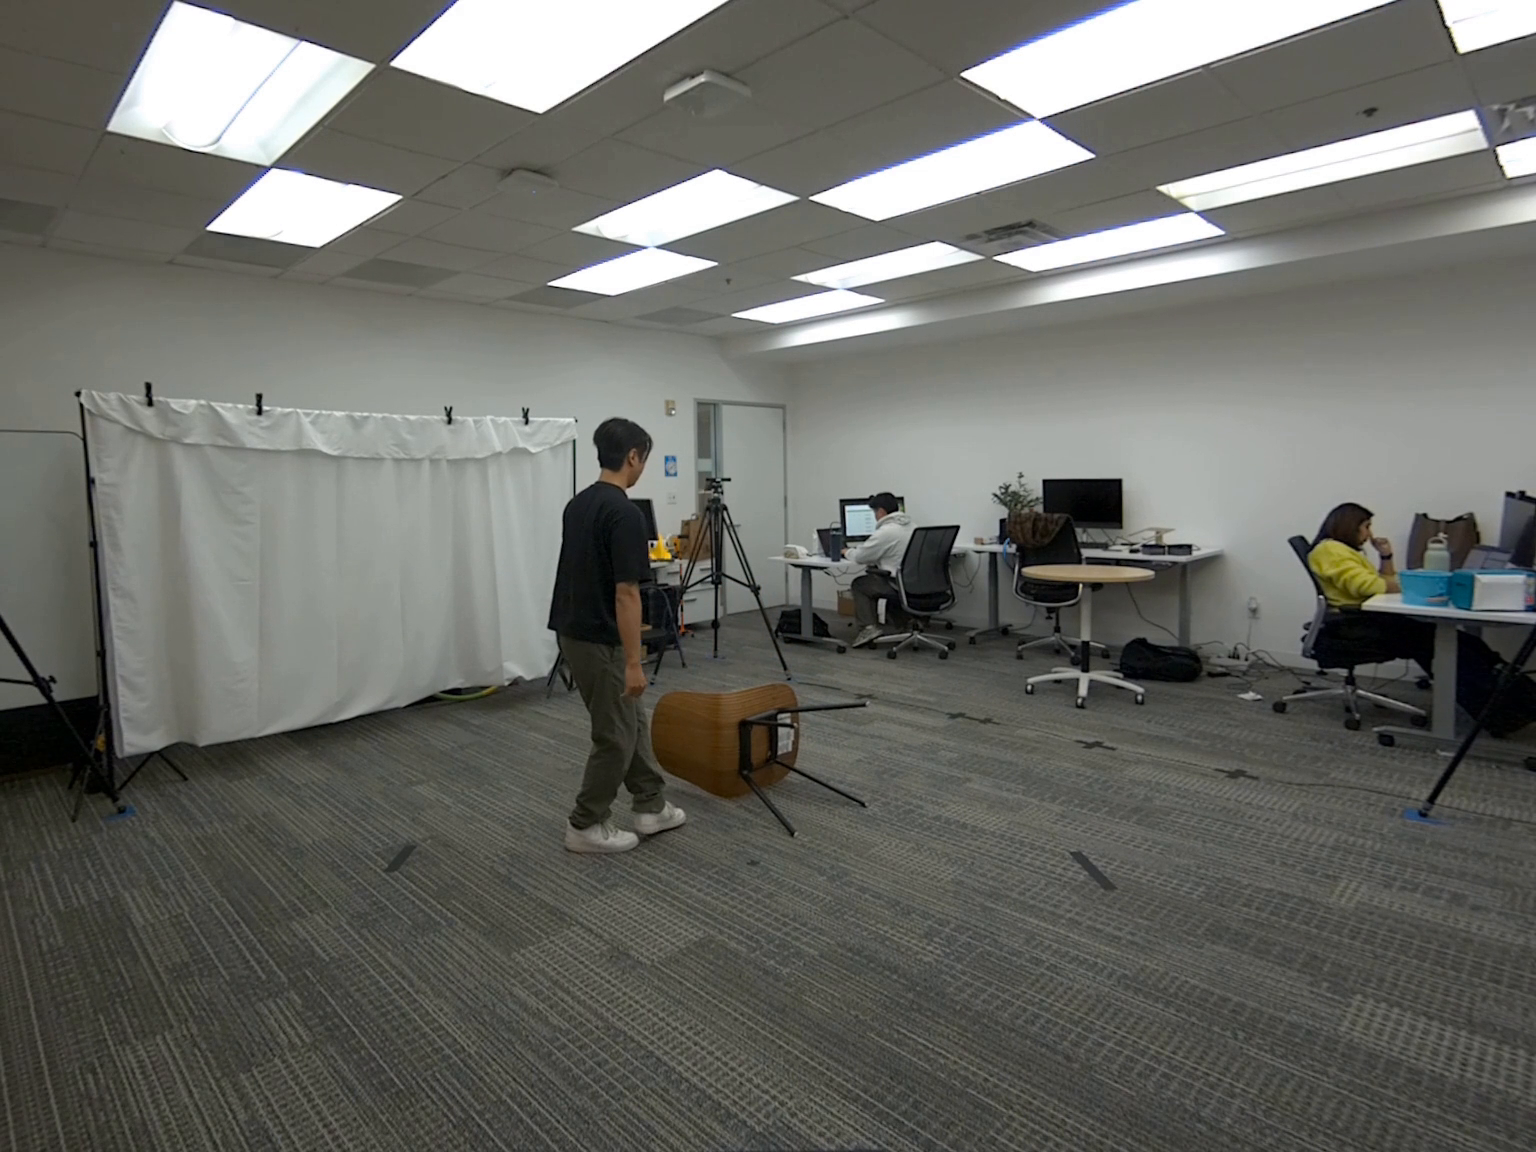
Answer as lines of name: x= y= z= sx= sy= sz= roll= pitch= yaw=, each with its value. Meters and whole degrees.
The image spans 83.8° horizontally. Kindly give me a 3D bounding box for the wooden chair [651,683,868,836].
wooden chair: x=-0.033 y=0.736 z=3.771 sx=0.904 sy=0.476 sz=0.510 roll=4 pitch=8 yaw=42
